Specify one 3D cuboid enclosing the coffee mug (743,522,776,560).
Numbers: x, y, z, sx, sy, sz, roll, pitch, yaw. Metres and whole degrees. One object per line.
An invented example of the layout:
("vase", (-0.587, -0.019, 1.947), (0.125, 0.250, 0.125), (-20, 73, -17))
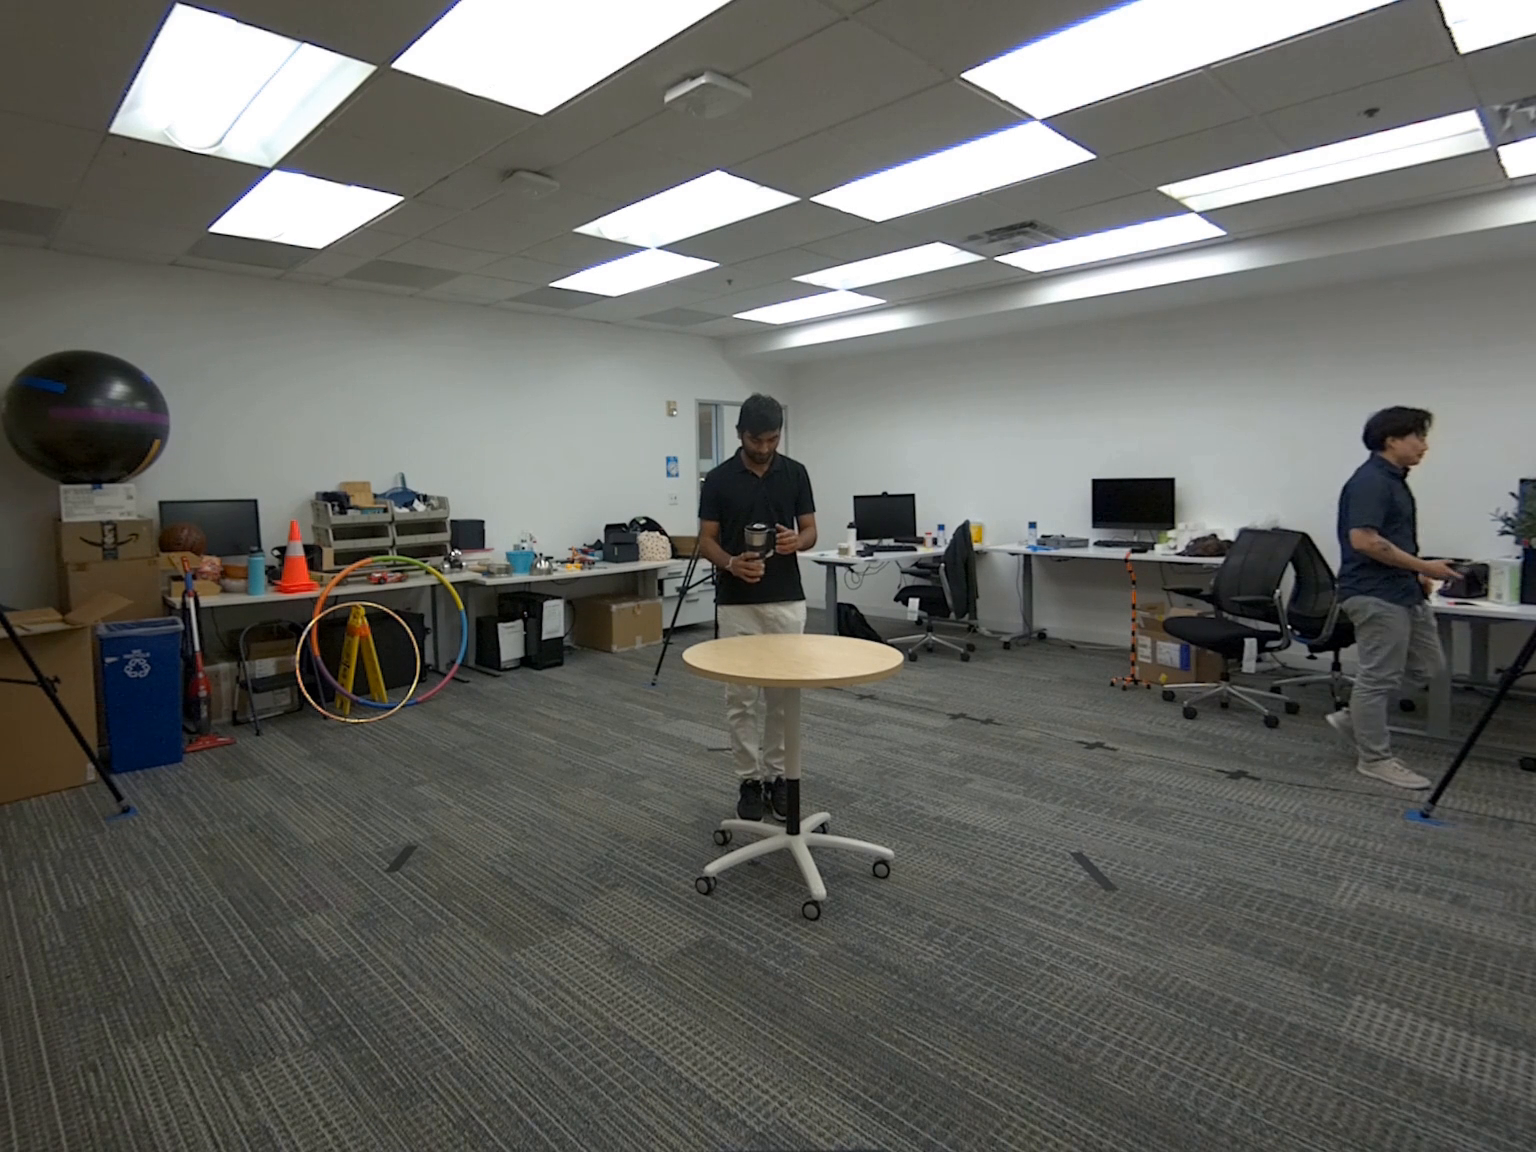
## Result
("coffee mug", (-0.035, -0.092, 3.252), (0.123, 0.200, 0.088), (-1, 14, 12))
